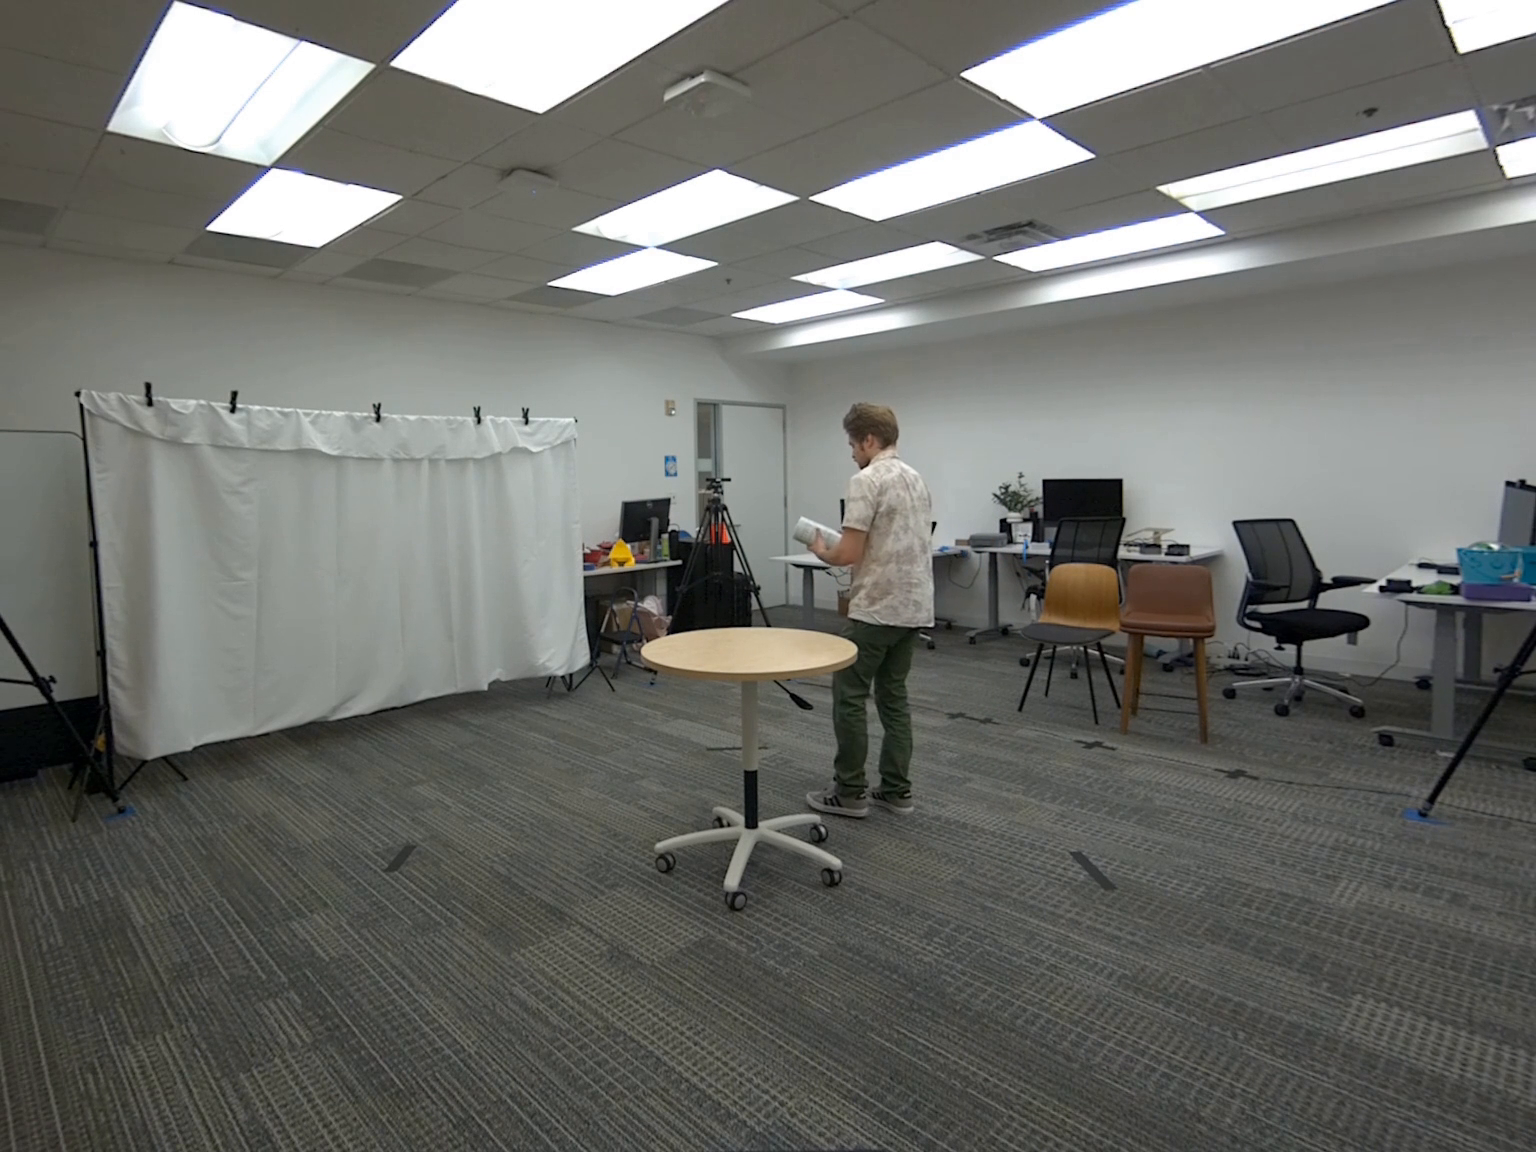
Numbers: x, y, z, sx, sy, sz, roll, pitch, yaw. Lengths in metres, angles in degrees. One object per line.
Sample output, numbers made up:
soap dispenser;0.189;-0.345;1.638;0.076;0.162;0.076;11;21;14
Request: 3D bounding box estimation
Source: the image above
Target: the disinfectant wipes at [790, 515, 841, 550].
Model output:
disinfectant wipes;0.230;-0.171;3.758;0.221;0.117;0.116;24;10;12
